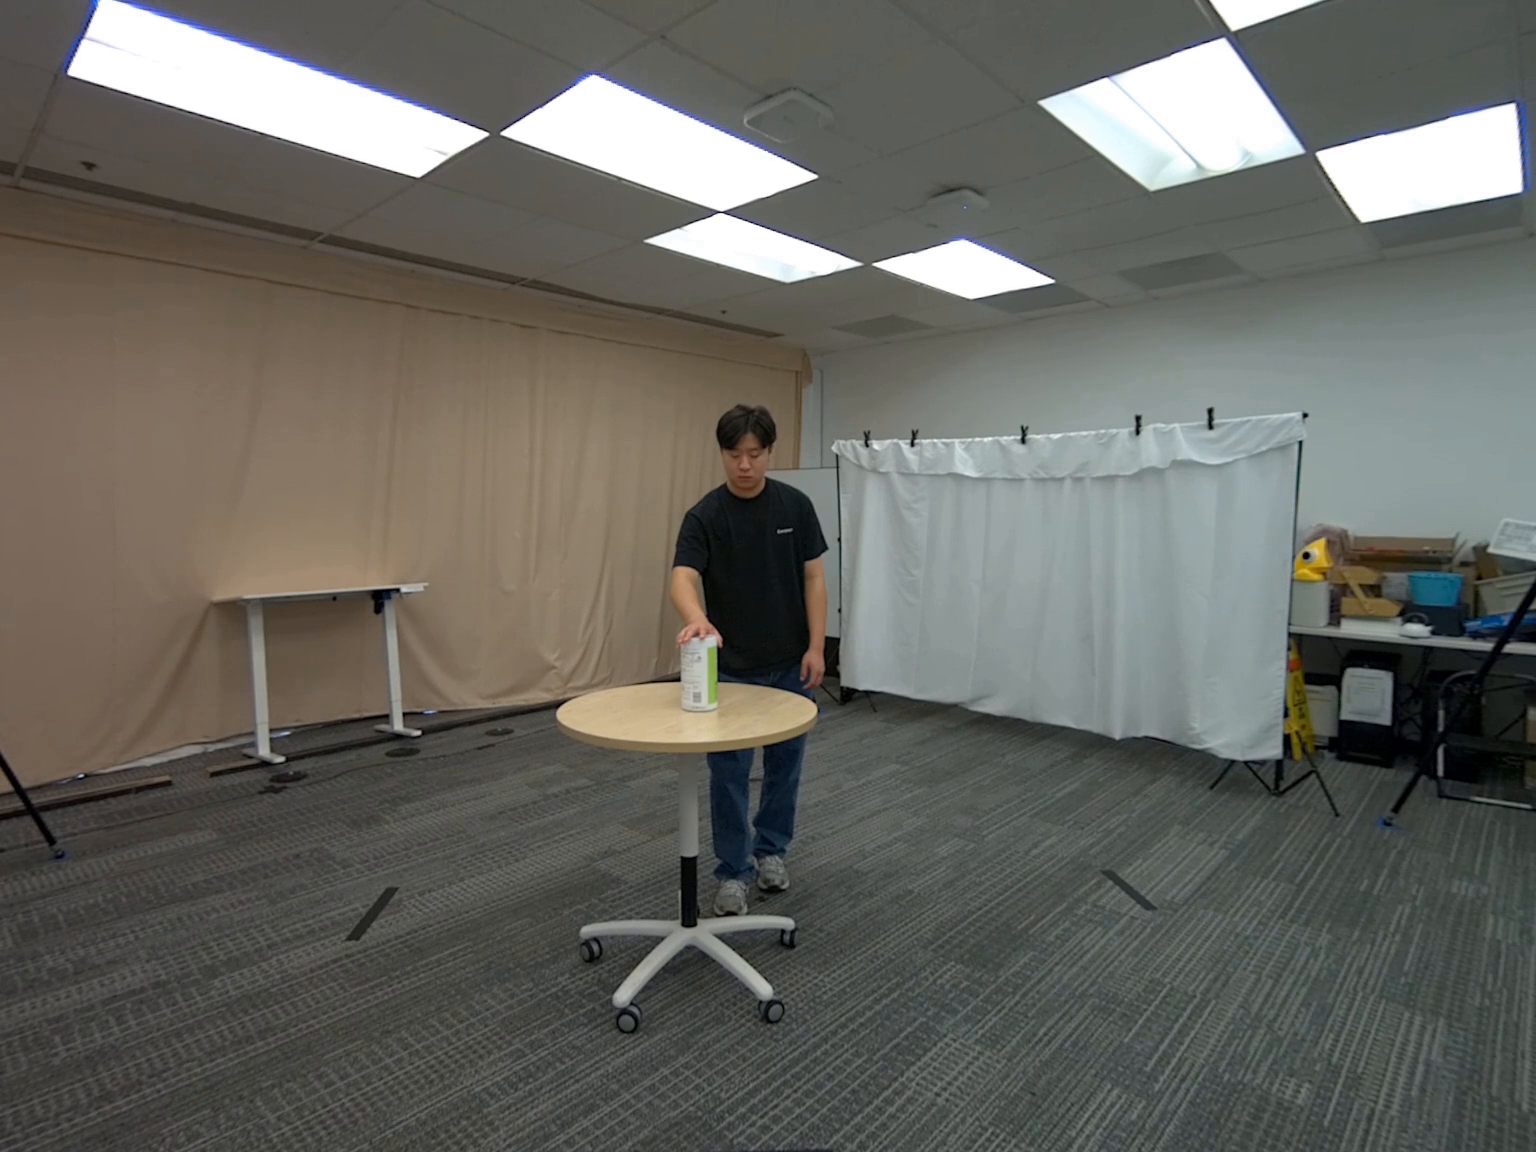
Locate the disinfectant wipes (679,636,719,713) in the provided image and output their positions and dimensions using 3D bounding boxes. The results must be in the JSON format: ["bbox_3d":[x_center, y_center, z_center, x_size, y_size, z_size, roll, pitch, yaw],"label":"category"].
[{"bbox_3d":[-0.204,0.286,2.483,0.118,0.217,0.118,1,1,-2],"label":"disinfectant wipes"}]
